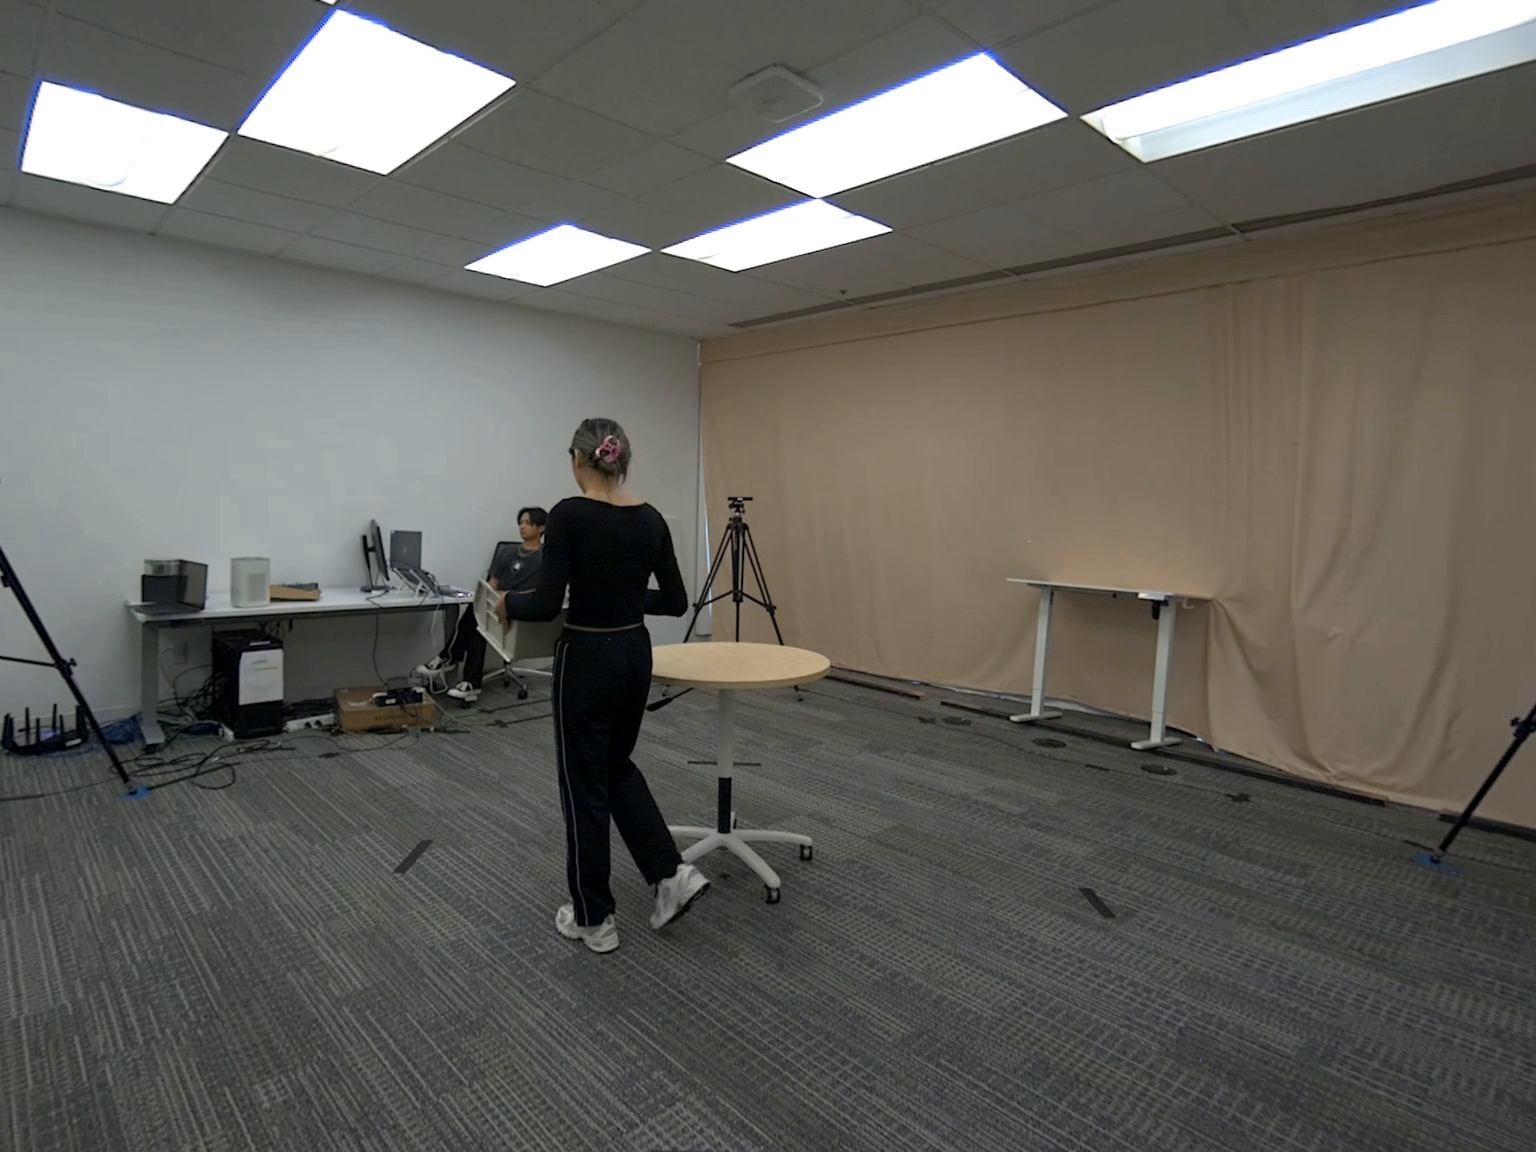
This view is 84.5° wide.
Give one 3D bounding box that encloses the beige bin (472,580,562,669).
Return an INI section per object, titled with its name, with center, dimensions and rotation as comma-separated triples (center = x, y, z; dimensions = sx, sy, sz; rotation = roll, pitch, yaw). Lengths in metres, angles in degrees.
[beige bin]
center = -0.735, 0.129, 2.862
dimensions = 0.413, 0.187, 0.389
rotation = -1, 18, -36
